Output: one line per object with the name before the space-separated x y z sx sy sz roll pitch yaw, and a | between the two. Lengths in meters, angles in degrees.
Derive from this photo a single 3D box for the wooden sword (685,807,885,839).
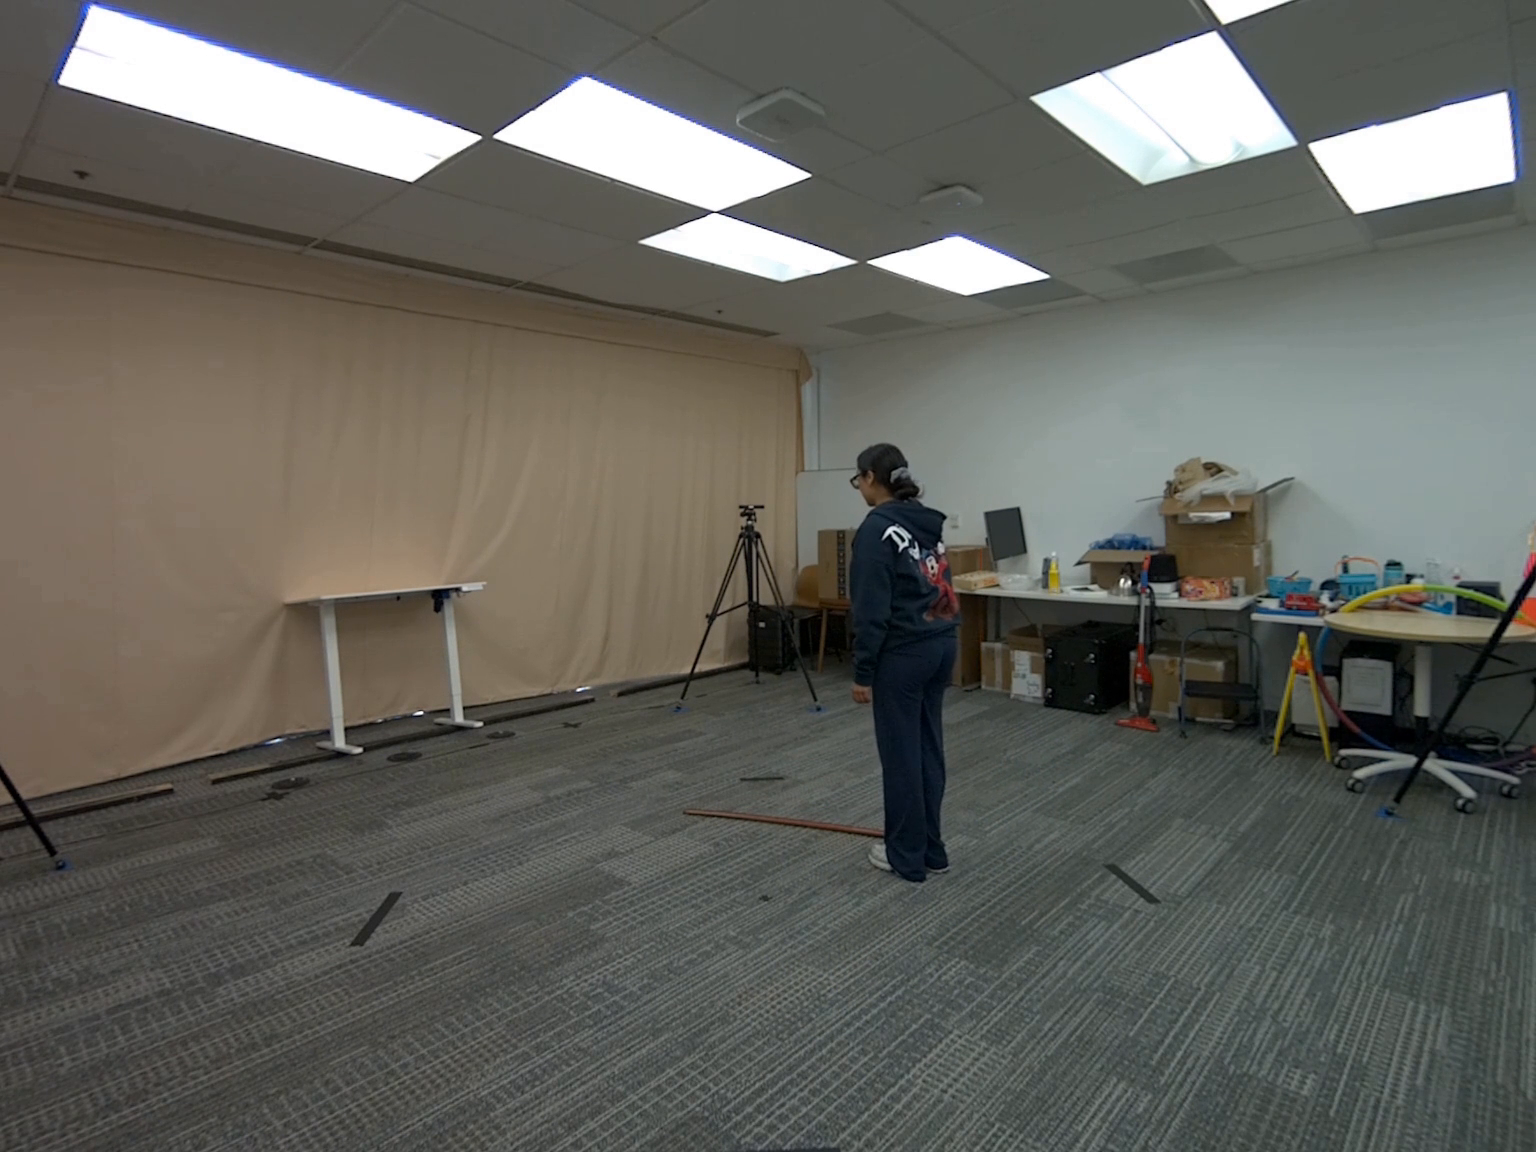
wooden sword | 0.128 1.063 3.637 1.046 0.024 0.050 0 13 20
